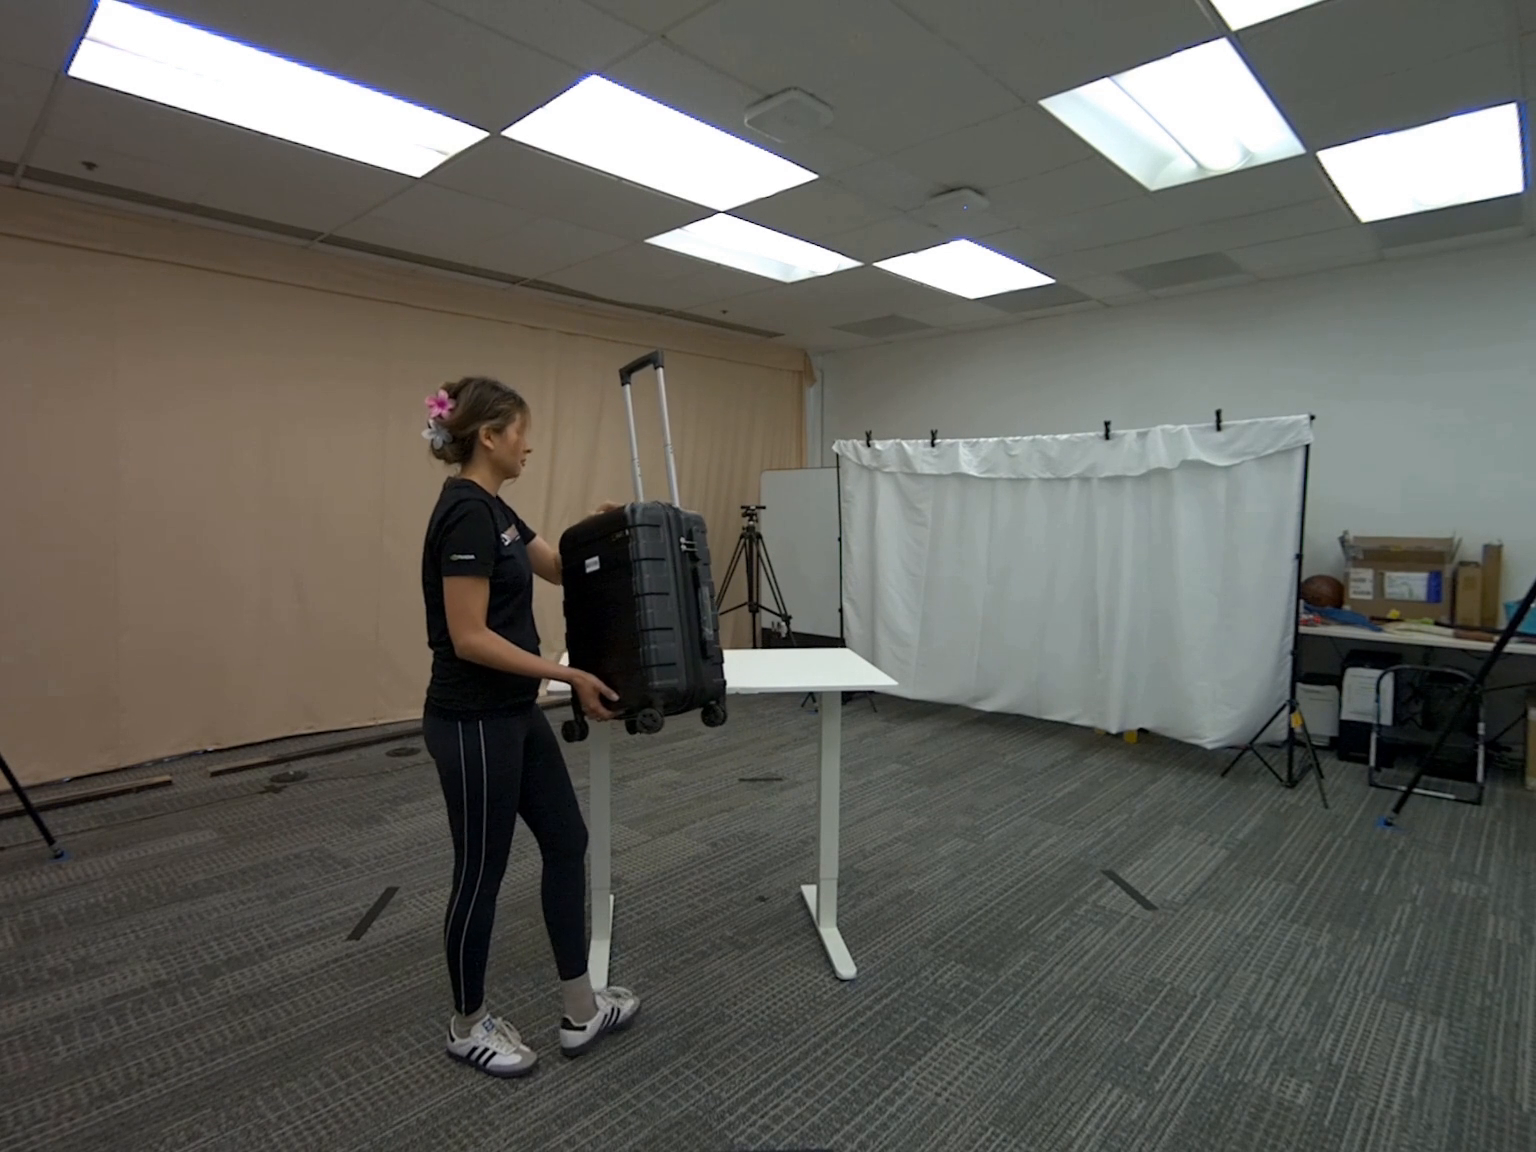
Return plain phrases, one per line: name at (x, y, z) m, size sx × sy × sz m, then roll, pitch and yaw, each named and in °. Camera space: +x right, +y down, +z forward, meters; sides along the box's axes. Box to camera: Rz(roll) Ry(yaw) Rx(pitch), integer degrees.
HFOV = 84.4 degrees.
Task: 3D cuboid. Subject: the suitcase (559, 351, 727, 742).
suitcase at (-0.341, -0.103, 2.104) m, size 0.249 × 0.987 × 0.393 m, roll 3°, pitch -15°, yaw -44°
